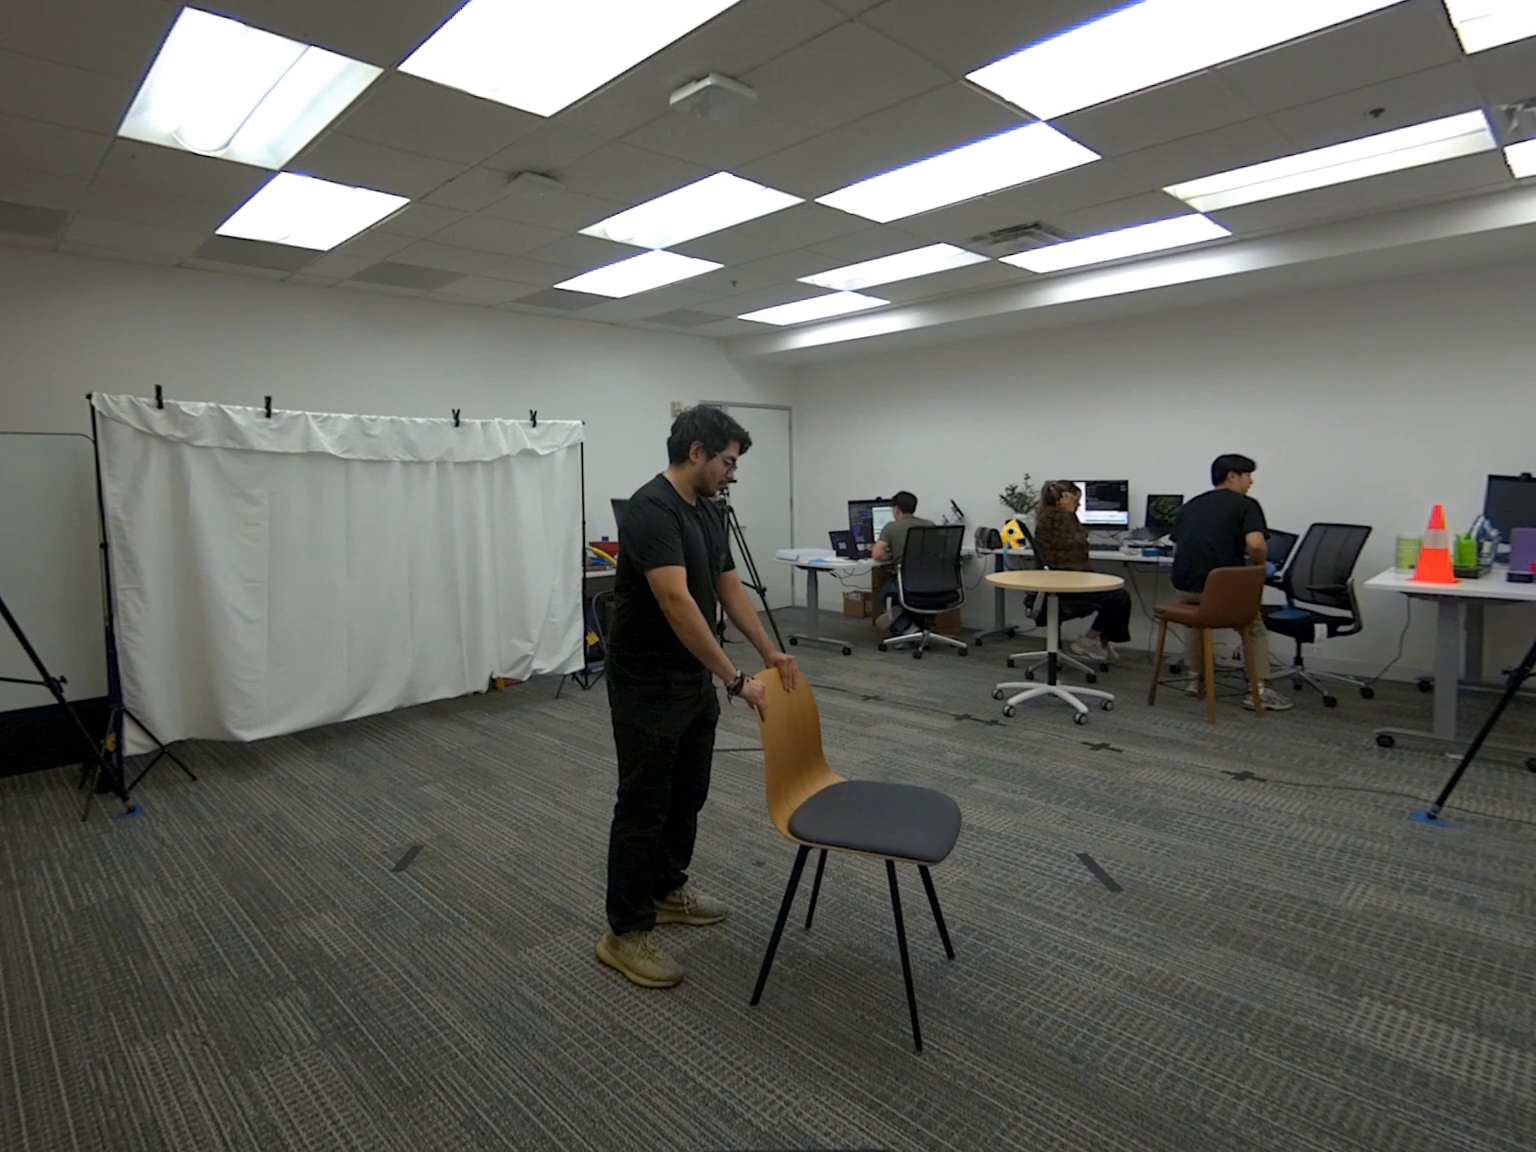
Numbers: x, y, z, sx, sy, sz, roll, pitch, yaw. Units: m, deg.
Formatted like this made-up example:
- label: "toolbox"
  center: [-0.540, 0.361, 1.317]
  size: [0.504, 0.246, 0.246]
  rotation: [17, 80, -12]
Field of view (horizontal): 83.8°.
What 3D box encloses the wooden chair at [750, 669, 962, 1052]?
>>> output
- label: "wooden chair"
  center: [0.253, 0.696, 2.354]
  size: [0.534, 0.876, 0.469]
  rotation: [-4, 2, 24]
